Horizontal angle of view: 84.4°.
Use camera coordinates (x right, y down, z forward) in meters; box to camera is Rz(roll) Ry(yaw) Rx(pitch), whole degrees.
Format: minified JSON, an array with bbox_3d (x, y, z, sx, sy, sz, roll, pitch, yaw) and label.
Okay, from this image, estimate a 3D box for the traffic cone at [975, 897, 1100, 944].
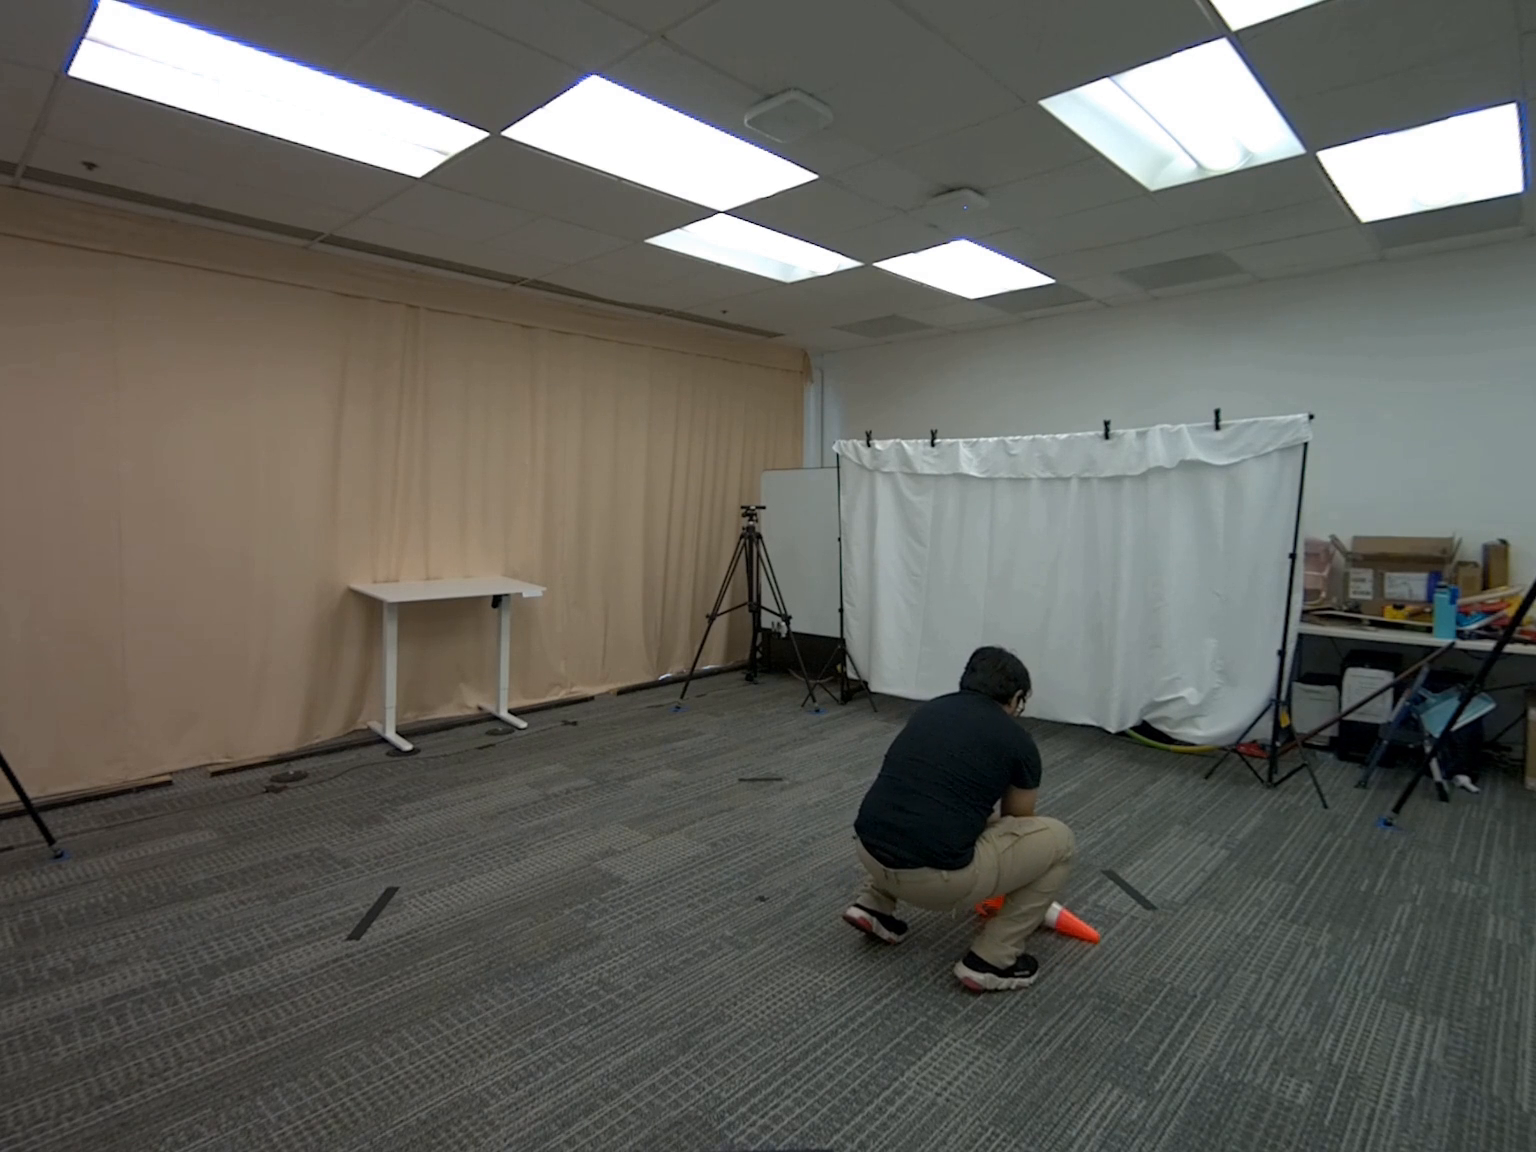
[{"bbox_3d":[0.914,1.096,2.787,0.397,0.201,0.200,18,39,33],"label":"traffic cone"}]
